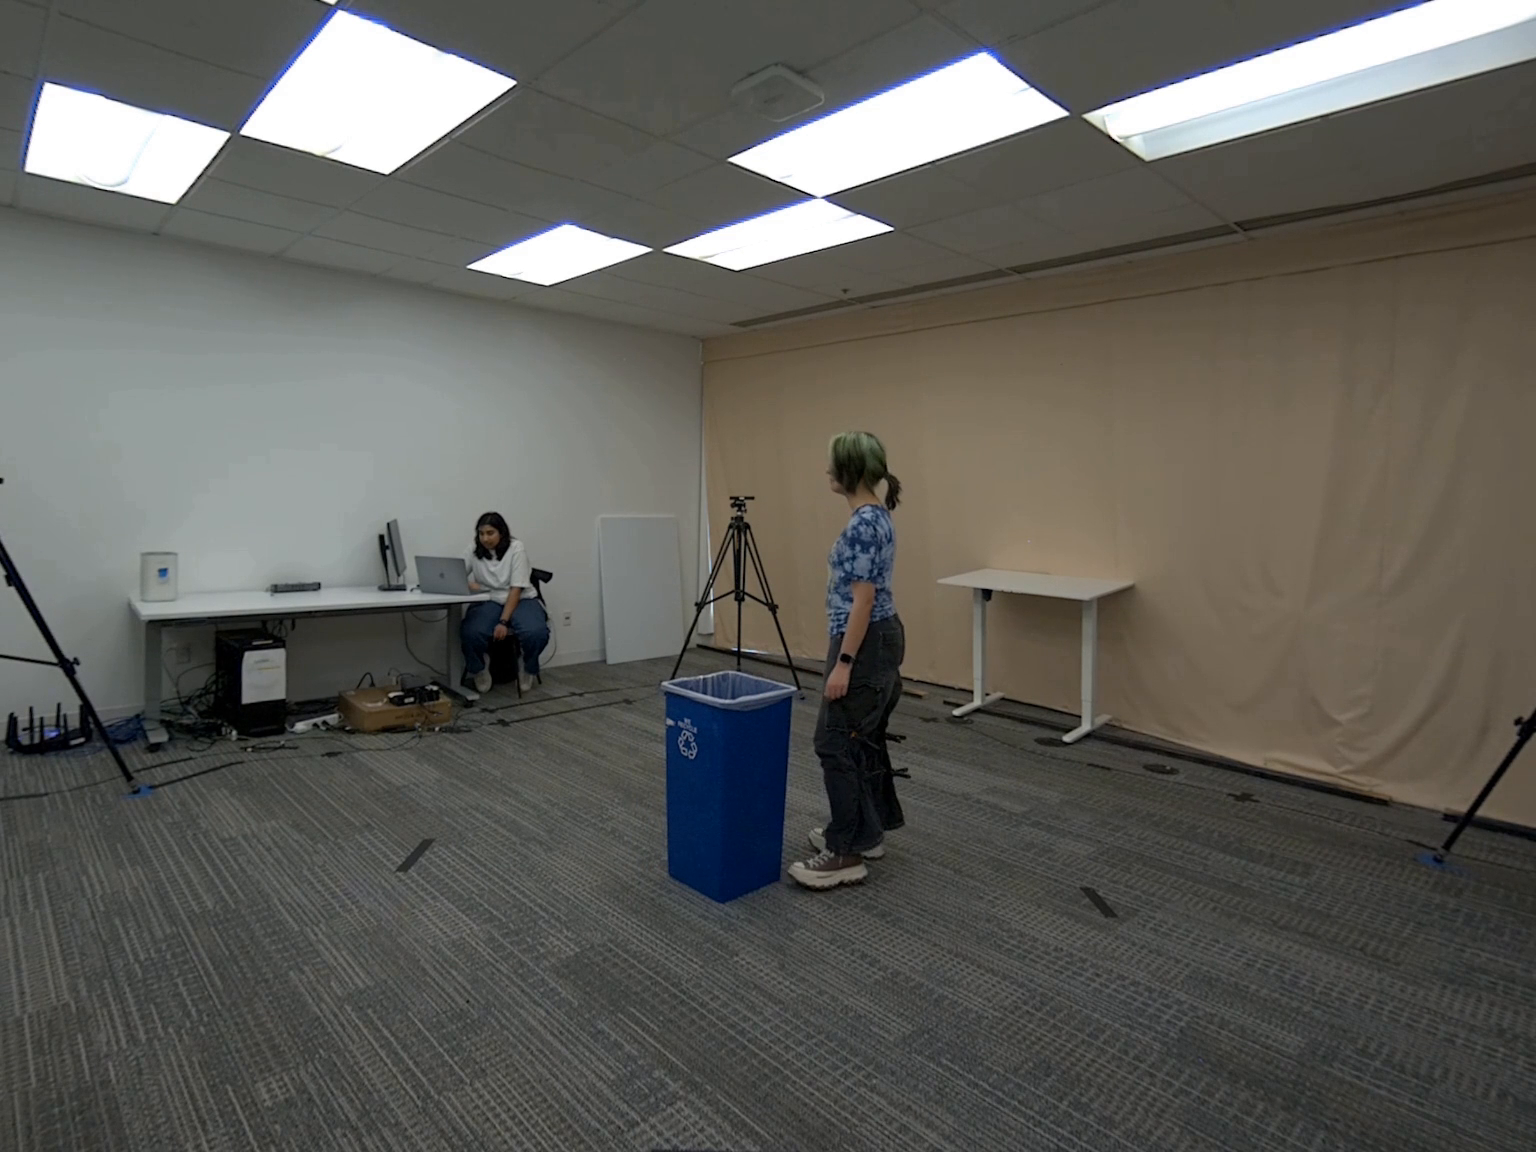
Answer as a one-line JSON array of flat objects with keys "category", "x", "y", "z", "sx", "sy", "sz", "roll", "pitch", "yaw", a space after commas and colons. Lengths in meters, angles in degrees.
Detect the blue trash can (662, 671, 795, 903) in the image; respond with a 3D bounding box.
[{"category": "blue trash can", "x": -0.154, "y": 0.750, "z": 3.062, "sx": 0.369, "sy": 0.712, "sz": 0.383, "roll": -2, "pitch": 5, "yaw": -44}]
